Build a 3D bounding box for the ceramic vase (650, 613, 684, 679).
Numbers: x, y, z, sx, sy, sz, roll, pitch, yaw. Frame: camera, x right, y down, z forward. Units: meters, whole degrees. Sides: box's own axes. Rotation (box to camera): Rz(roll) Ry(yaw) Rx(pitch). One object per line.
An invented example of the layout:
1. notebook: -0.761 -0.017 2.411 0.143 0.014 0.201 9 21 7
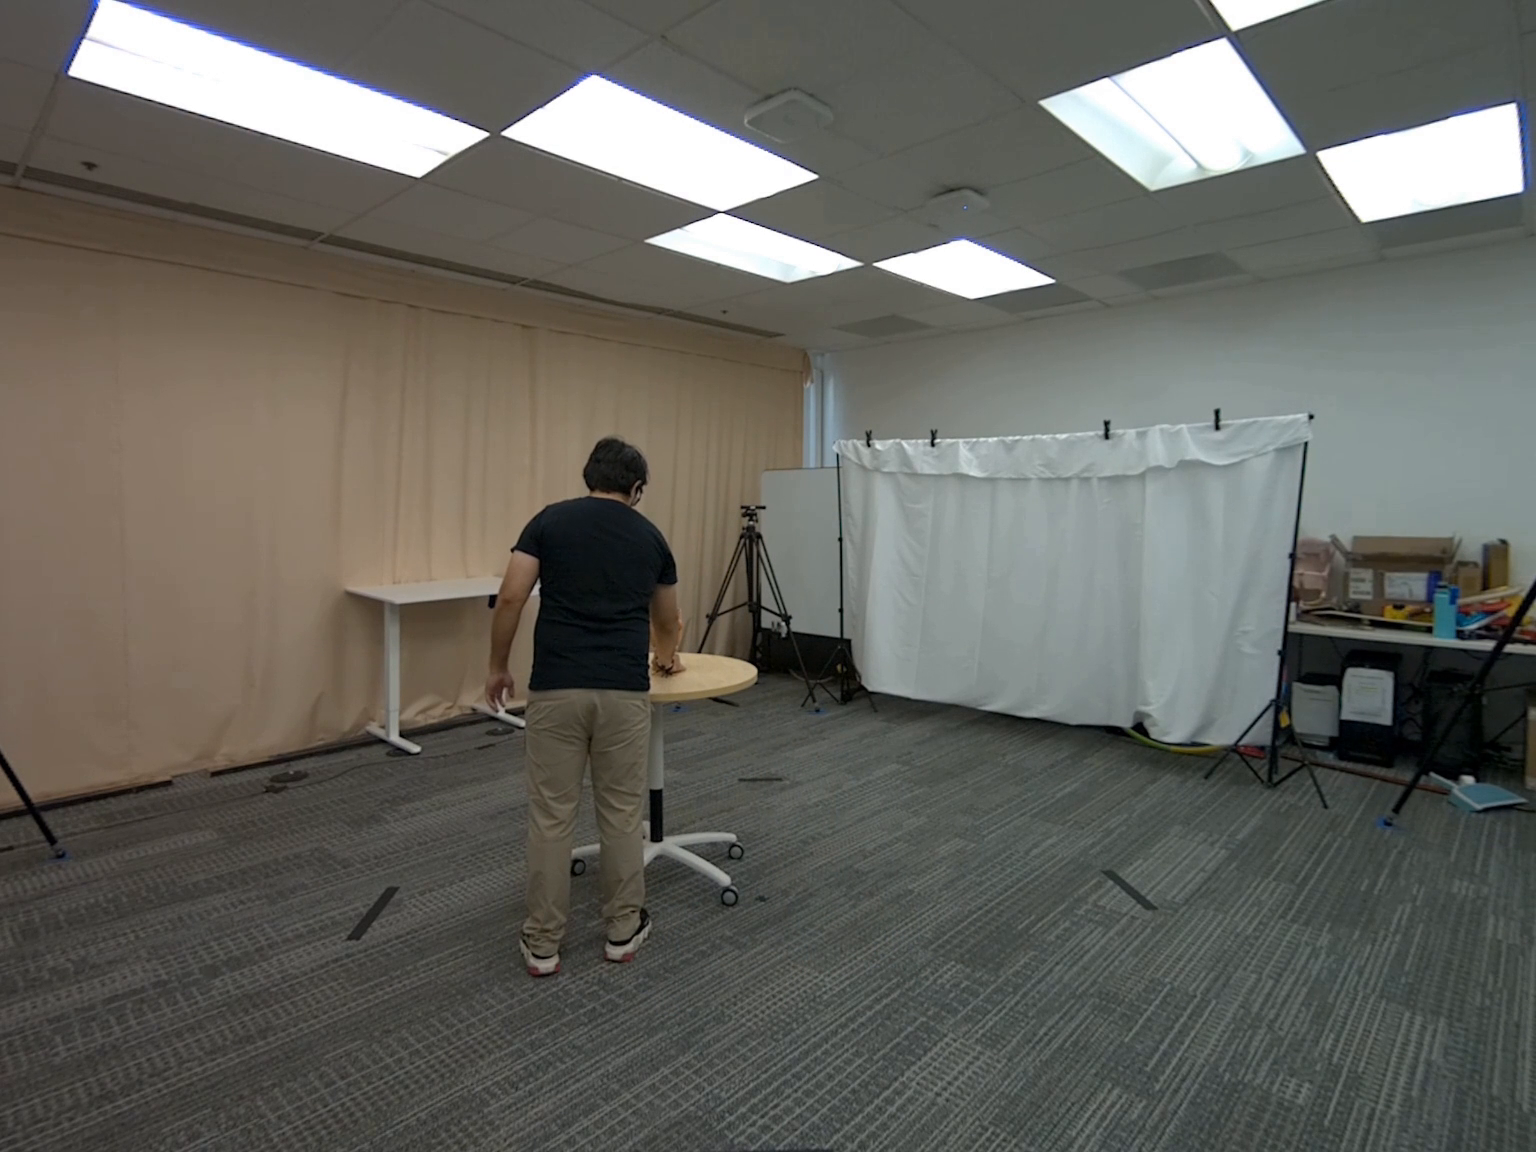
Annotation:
1. ceramic vase: -0.392 0.244 3.160 0.133 0.219 0.160 -3 2 -9
